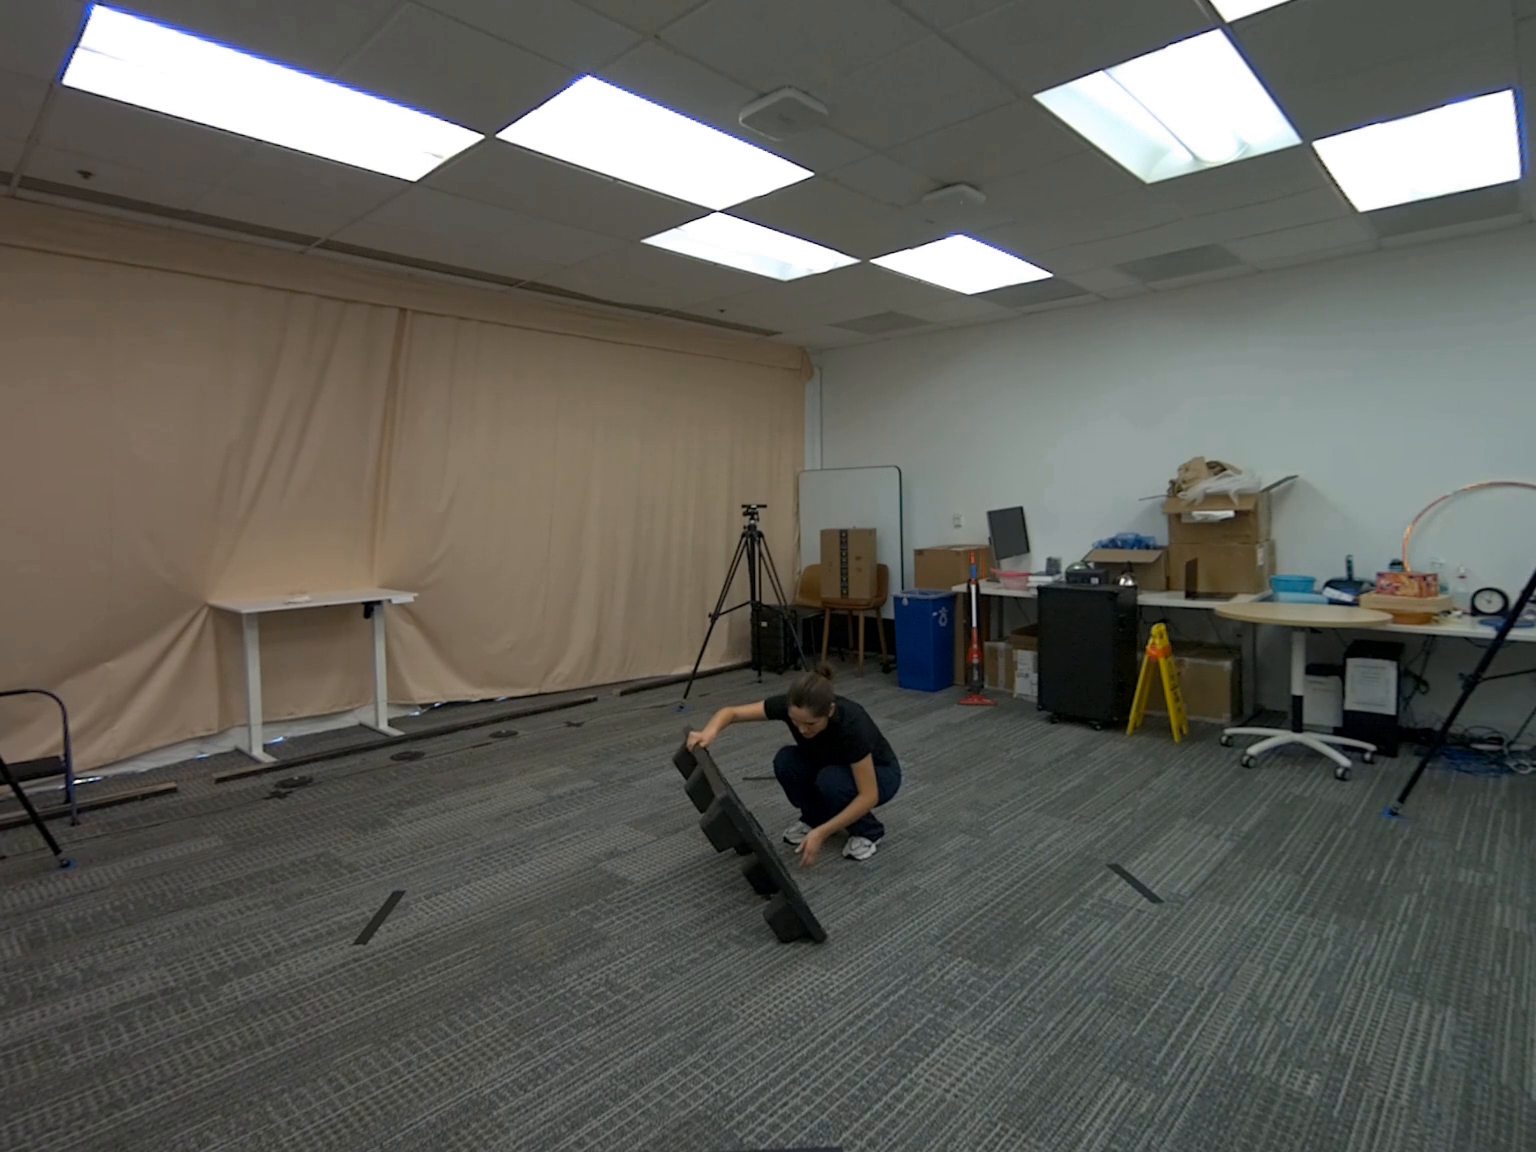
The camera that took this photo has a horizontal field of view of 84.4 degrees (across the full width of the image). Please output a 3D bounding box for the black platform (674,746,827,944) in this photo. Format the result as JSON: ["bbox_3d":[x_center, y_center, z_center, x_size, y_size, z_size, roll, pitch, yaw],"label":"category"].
[{"bbox_3d":[-0.102,0.897,2.995,0.142,0.599,0.818,-33,10,-9],"label":"black platform"}]
